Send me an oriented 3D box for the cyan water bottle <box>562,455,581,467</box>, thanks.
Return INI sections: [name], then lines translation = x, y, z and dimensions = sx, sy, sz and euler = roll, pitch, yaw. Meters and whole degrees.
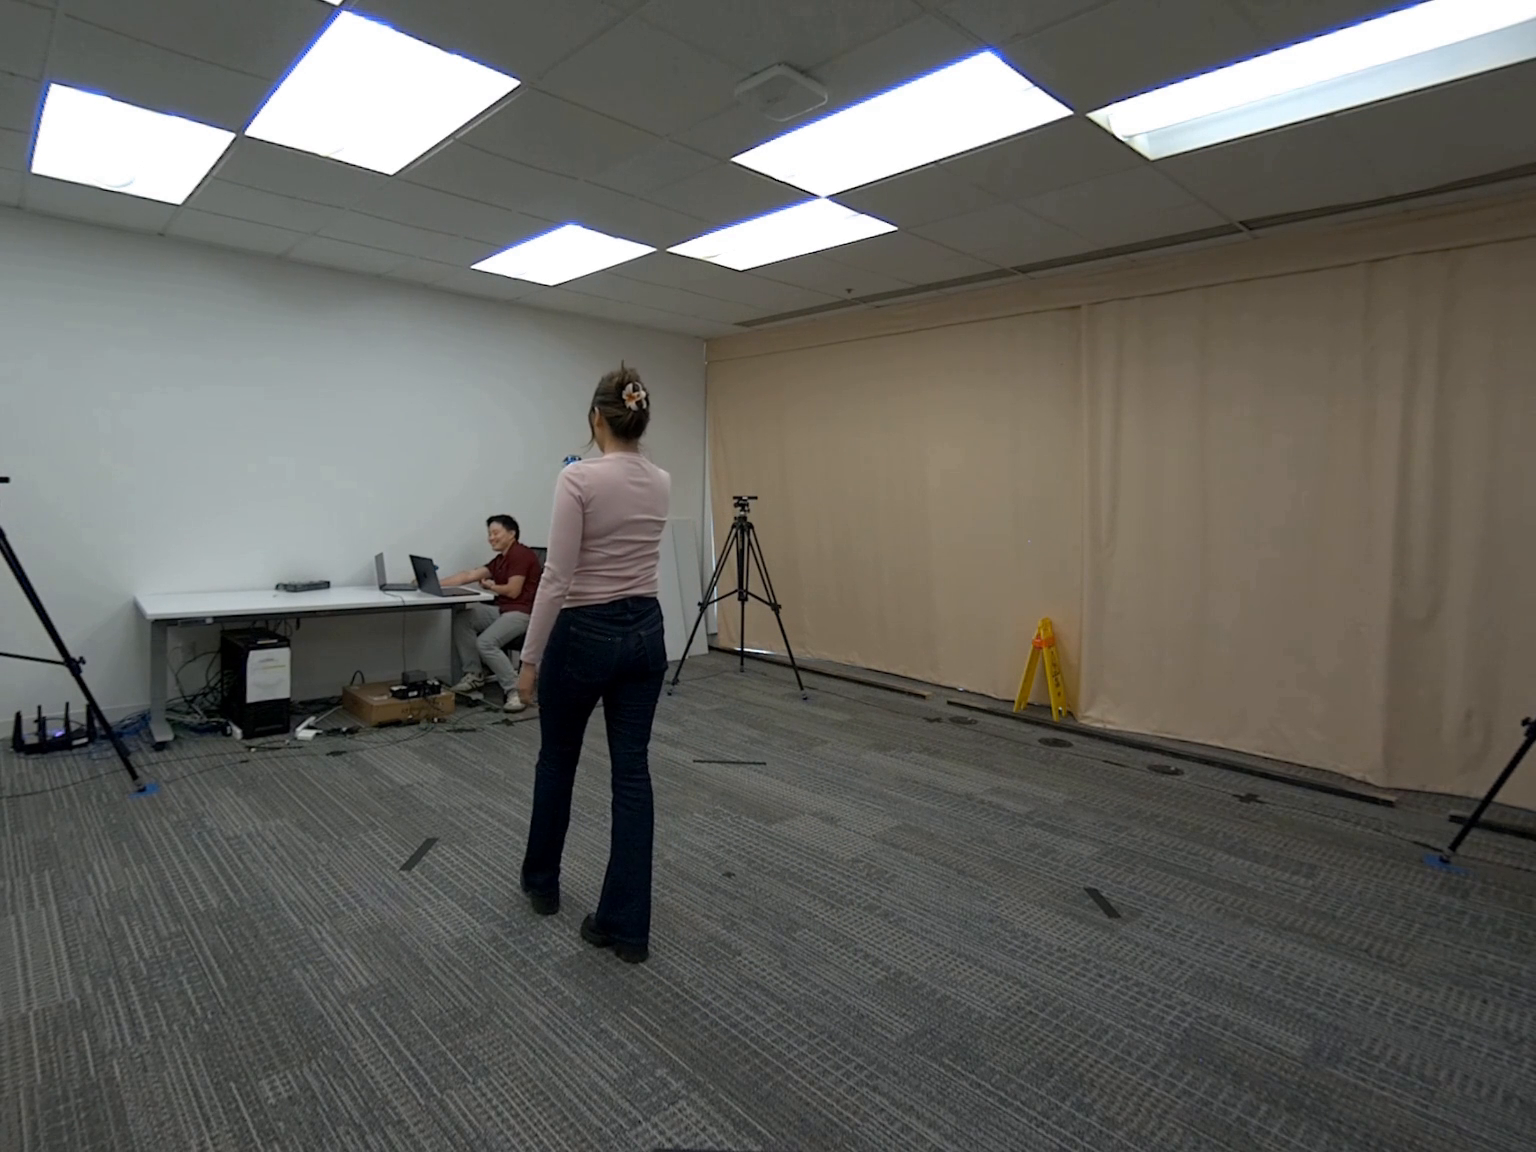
[cyan water bottle]
translation = -0.737, -0.315, 3.129
dimensions = 0.092, 0.283, 0.092
euler = 4, 1, -2
